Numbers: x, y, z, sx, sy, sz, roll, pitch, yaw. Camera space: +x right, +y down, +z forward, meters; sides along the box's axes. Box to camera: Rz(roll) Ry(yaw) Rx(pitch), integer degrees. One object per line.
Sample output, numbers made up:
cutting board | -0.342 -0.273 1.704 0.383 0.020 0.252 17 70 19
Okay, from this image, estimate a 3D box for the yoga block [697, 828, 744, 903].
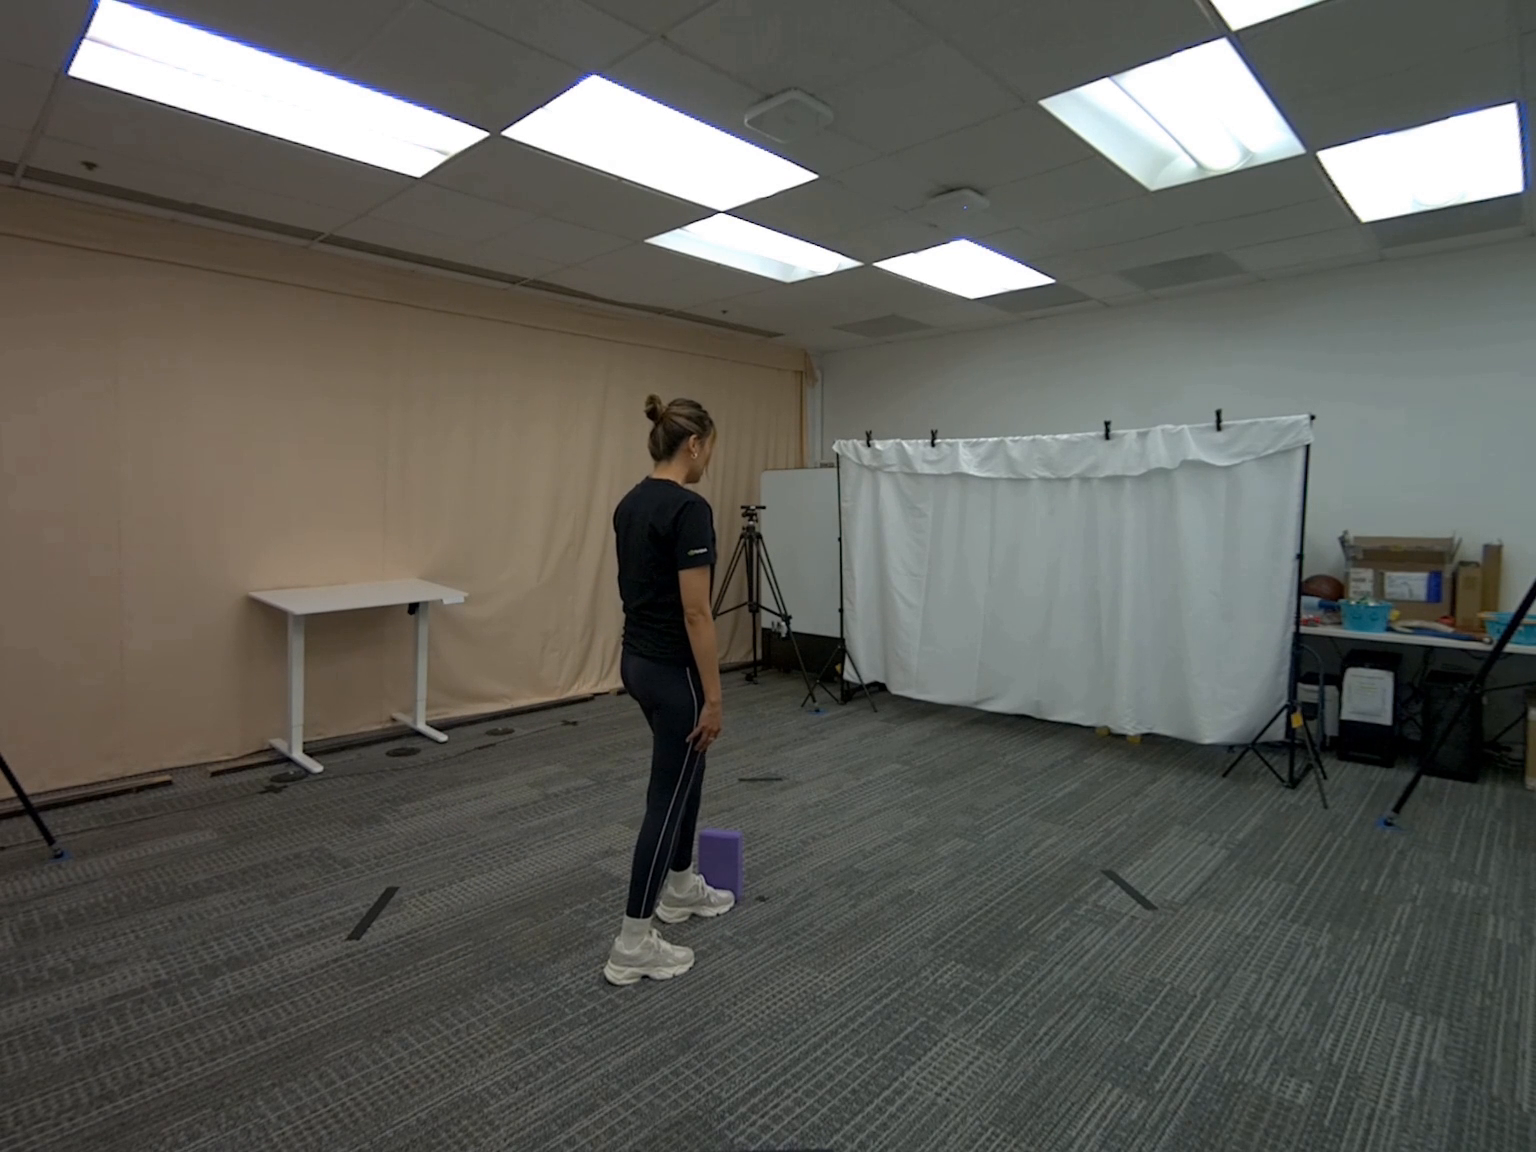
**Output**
yoga block | -0.167 1.026 2.995 0.151 0.229 0.075 1 2 15
